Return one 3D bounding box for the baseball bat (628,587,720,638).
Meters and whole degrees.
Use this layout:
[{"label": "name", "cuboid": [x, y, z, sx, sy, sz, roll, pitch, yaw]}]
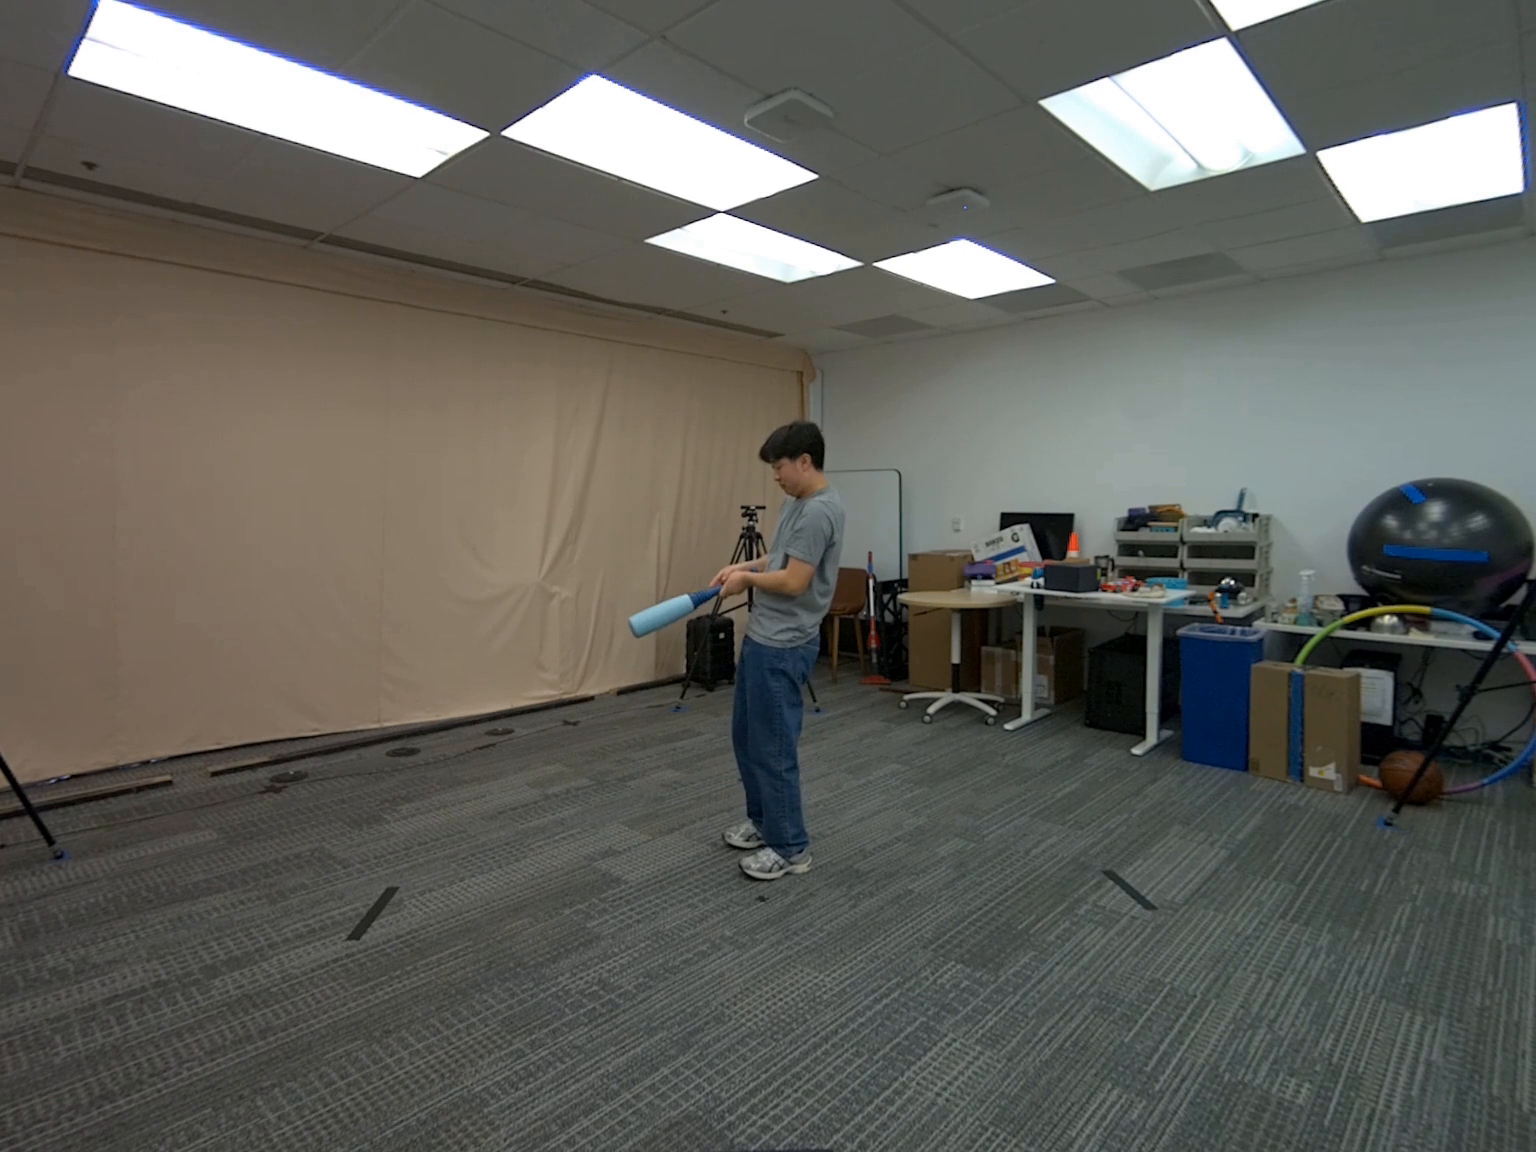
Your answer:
[{"label": "baseball bat", "cuboid": [-0.275, 0.092, 3.219, 0.537, 0.088, 0.091, -24, 11, -16]}]
